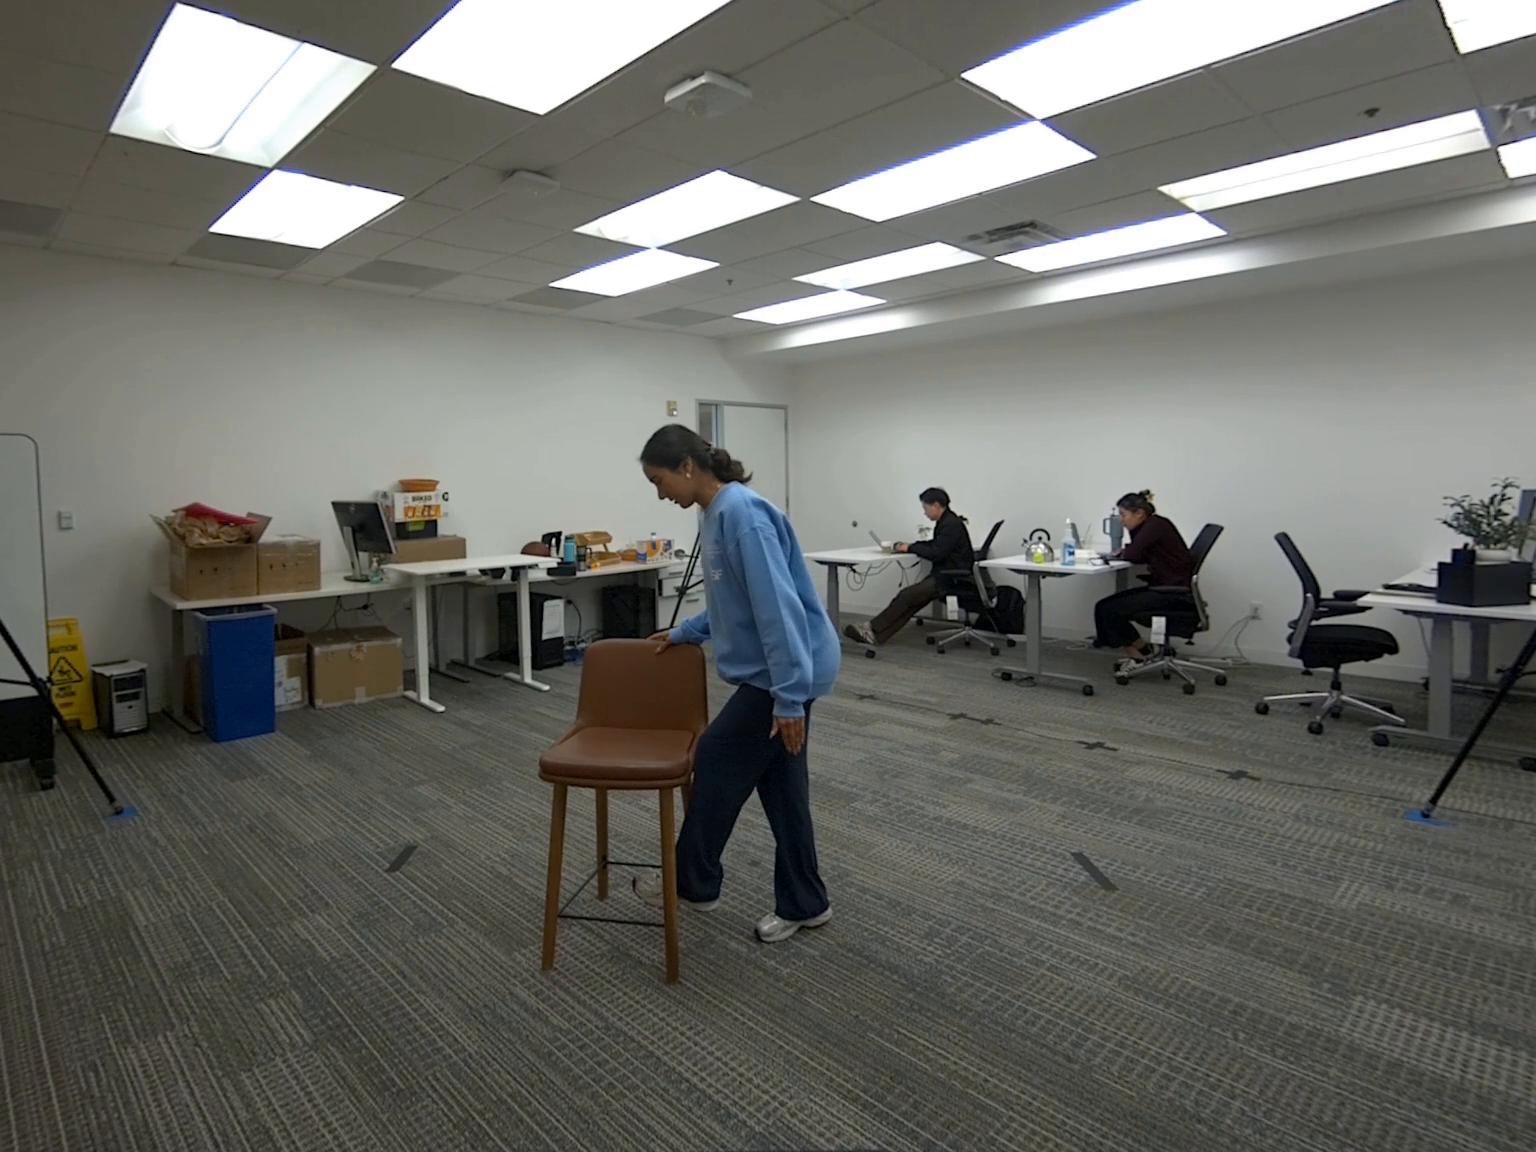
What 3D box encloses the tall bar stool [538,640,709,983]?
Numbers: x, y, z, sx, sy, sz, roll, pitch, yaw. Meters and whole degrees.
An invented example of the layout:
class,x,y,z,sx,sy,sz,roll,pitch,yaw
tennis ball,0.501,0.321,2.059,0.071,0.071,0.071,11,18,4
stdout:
class,x,y,z,sx,sy,sz,roll,pitch,yaw
tall bar stool,-0.419,0.673,2.604,0.462,0.888,0.463,0,3,11
